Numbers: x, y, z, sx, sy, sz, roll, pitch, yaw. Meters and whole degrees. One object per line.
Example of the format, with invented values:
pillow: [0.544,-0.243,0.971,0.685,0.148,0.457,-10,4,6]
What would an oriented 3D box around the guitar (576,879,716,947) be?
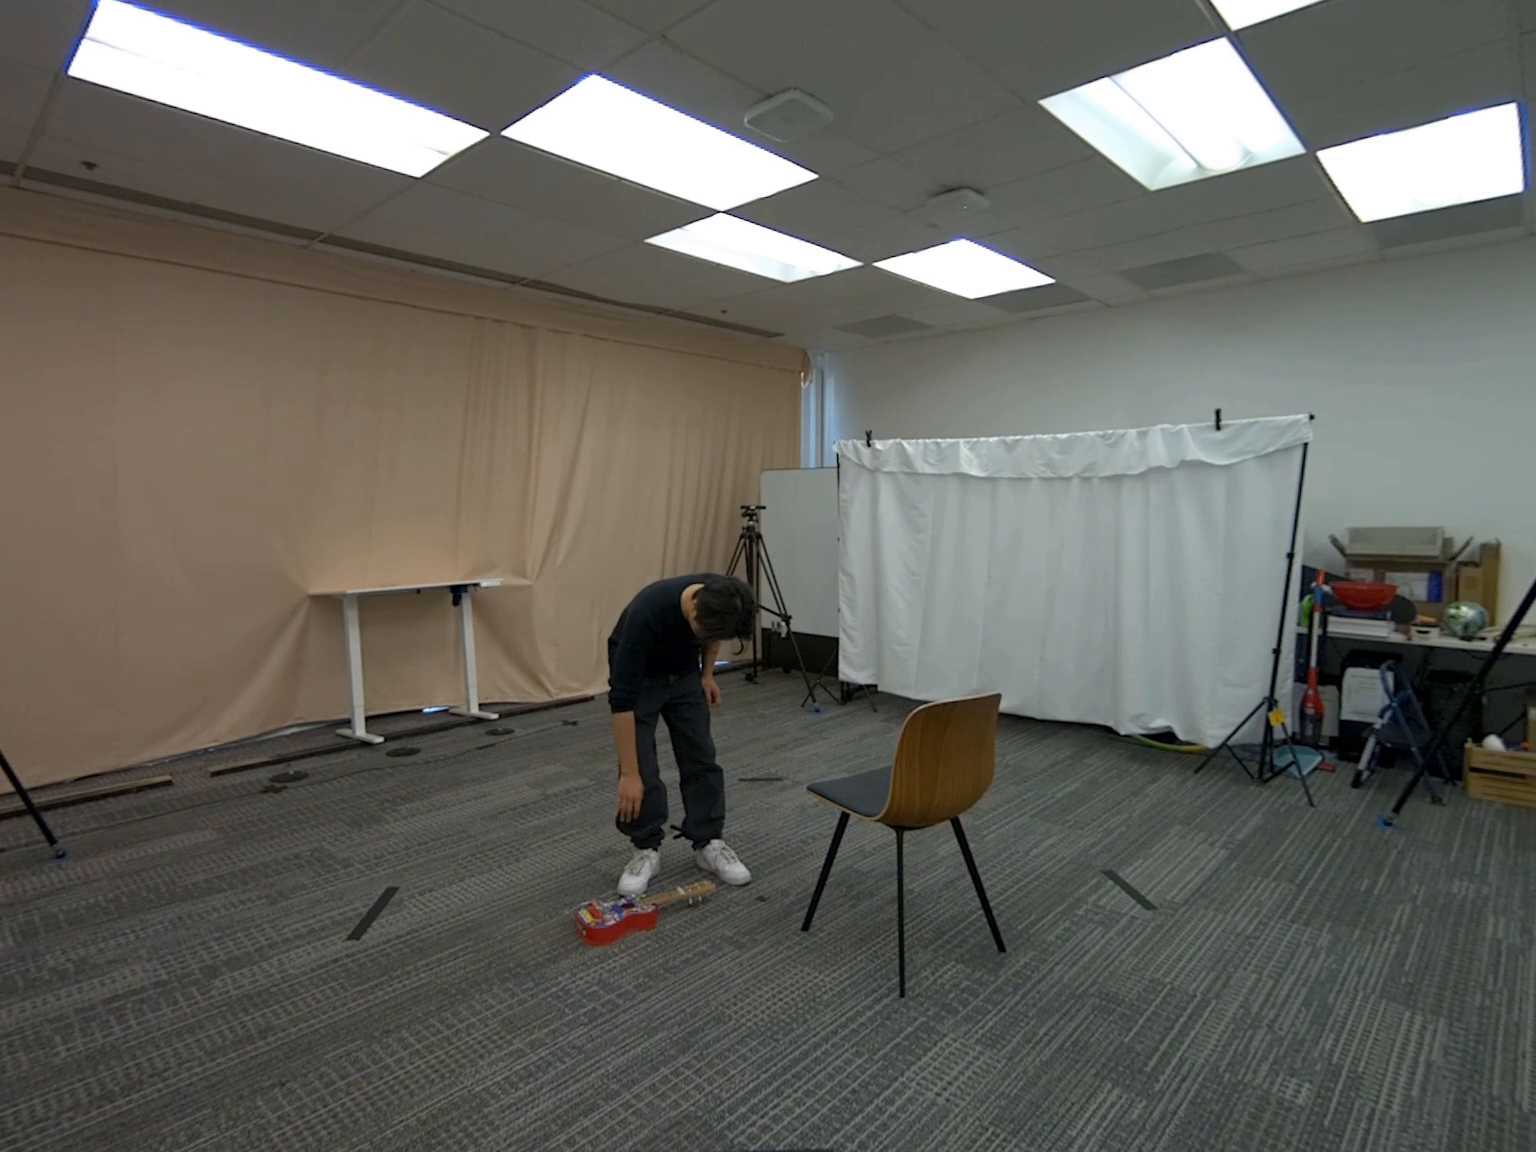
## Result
guitar: [-0.395,1.120,2.824,0.488,0.070,0.197,-3,6,-20]
